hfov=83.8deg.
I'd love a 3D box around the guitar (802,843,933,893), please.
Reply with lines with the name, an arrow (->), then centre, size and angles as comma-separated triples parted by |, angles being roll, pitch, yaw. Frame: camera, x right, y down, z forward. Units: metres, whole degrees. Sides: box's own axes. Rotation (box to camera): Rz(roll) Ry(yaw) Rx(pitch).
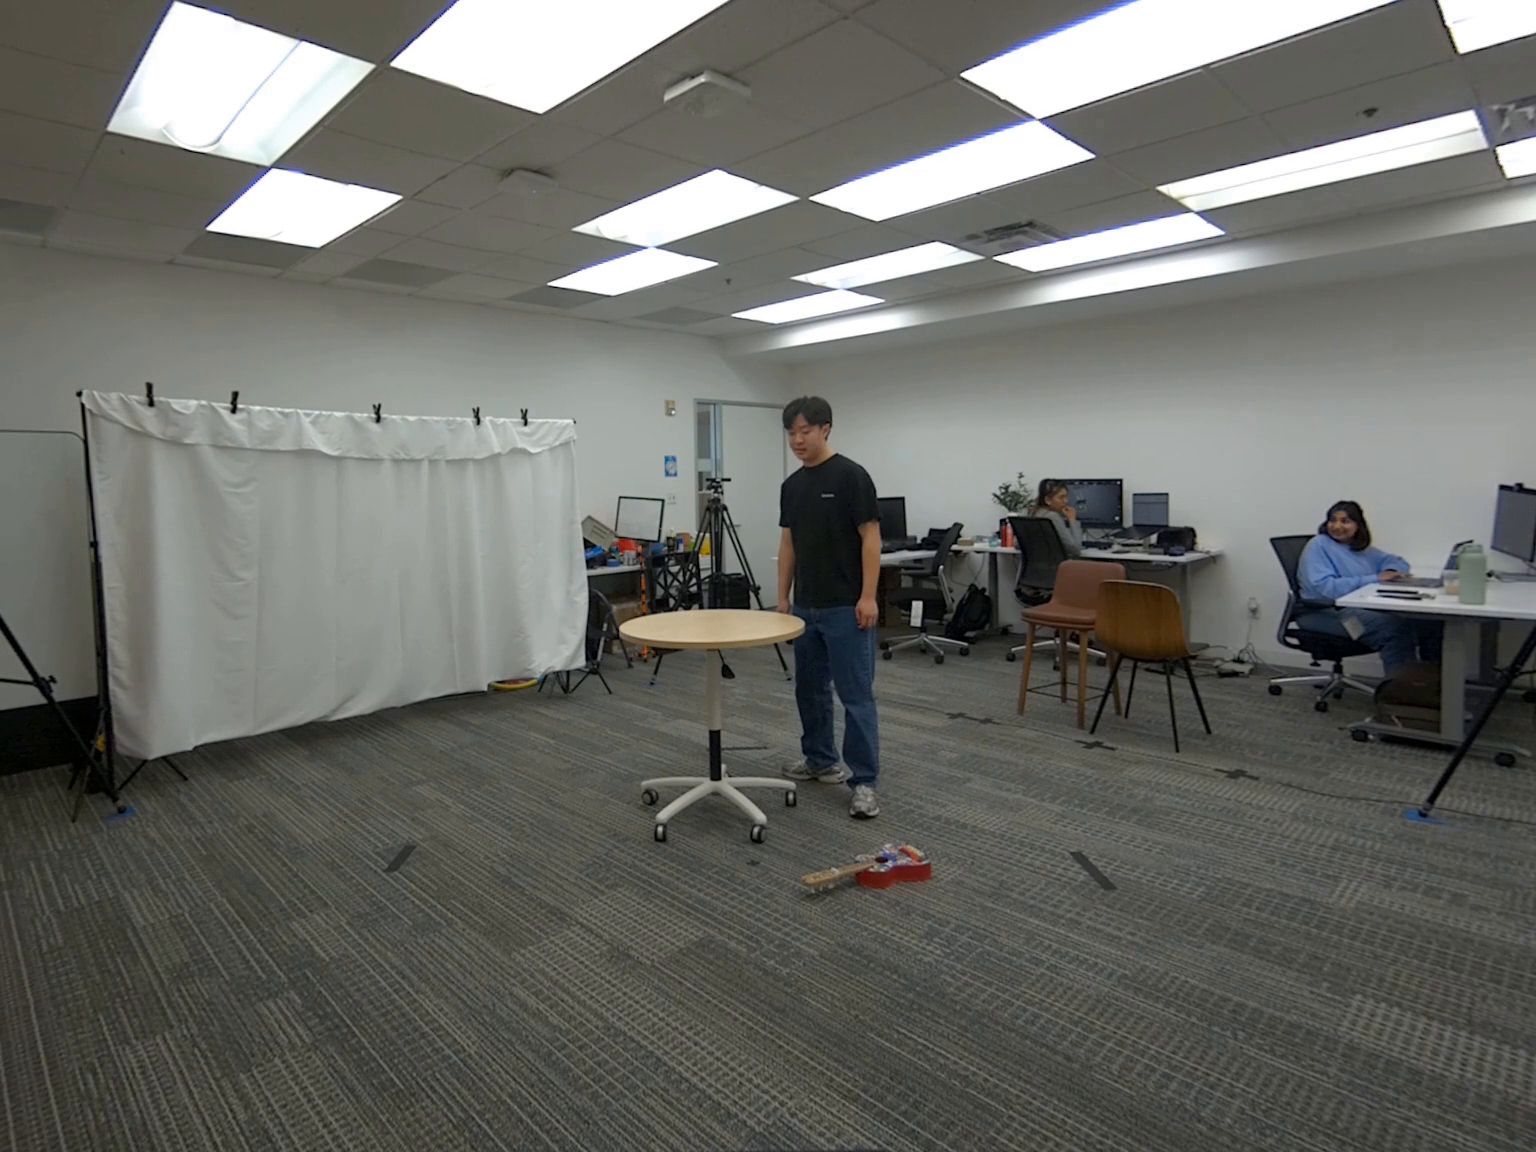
guitar -> 0.324, 1.021, 2.969 | 0.489, 0.070, 0.197 | -3, 7, -19
